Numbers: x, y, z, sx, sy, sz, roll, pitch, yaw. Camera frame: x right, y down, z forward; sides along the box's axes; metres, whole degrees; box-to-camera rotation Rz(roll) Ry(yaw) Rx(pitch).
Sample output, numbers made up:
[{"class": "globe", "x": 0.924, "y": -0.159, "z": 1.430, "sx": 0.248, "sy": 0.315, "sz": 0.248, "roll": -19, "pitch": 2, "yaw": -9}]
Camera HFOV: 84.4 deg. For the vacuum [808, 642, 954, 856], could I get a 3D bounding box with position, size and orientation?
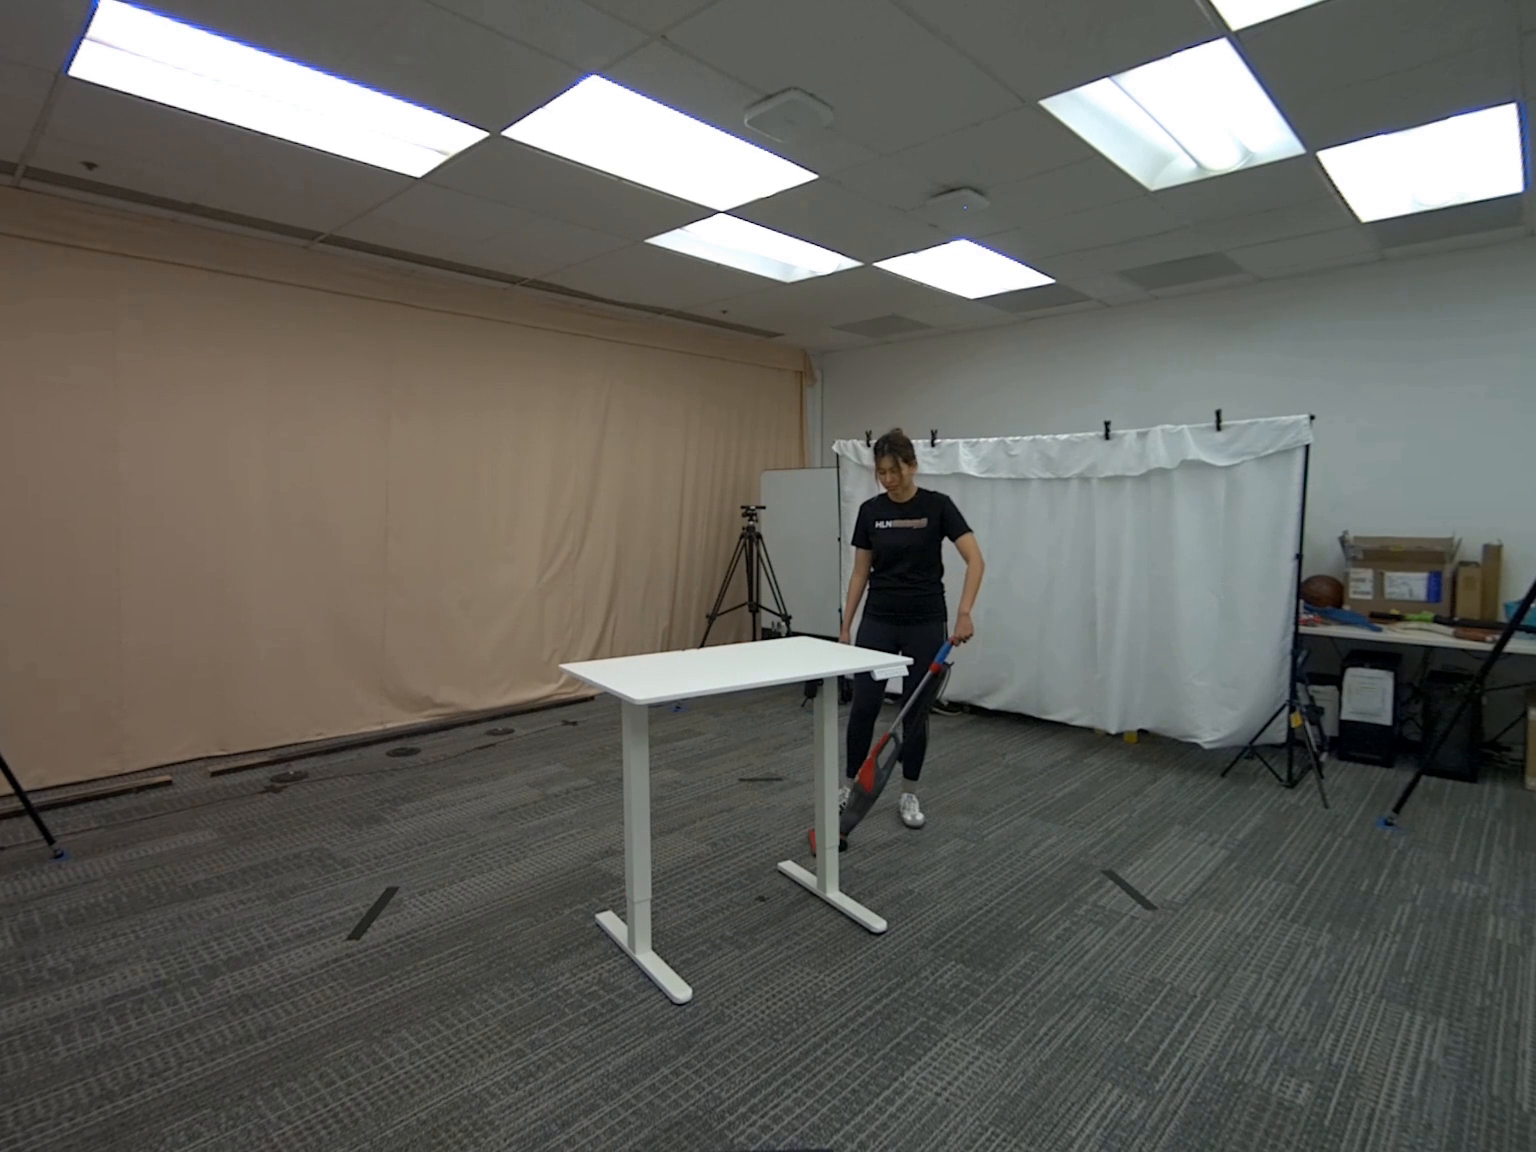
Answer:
[{"class": "vacuum", "x": 0.531, "y": 0.662, "z": 3.419, "sx": 0.144, "sy": 1.049, "sz": 0.253, "roll": 34, "pitch": 4, "yaw": -4}]
